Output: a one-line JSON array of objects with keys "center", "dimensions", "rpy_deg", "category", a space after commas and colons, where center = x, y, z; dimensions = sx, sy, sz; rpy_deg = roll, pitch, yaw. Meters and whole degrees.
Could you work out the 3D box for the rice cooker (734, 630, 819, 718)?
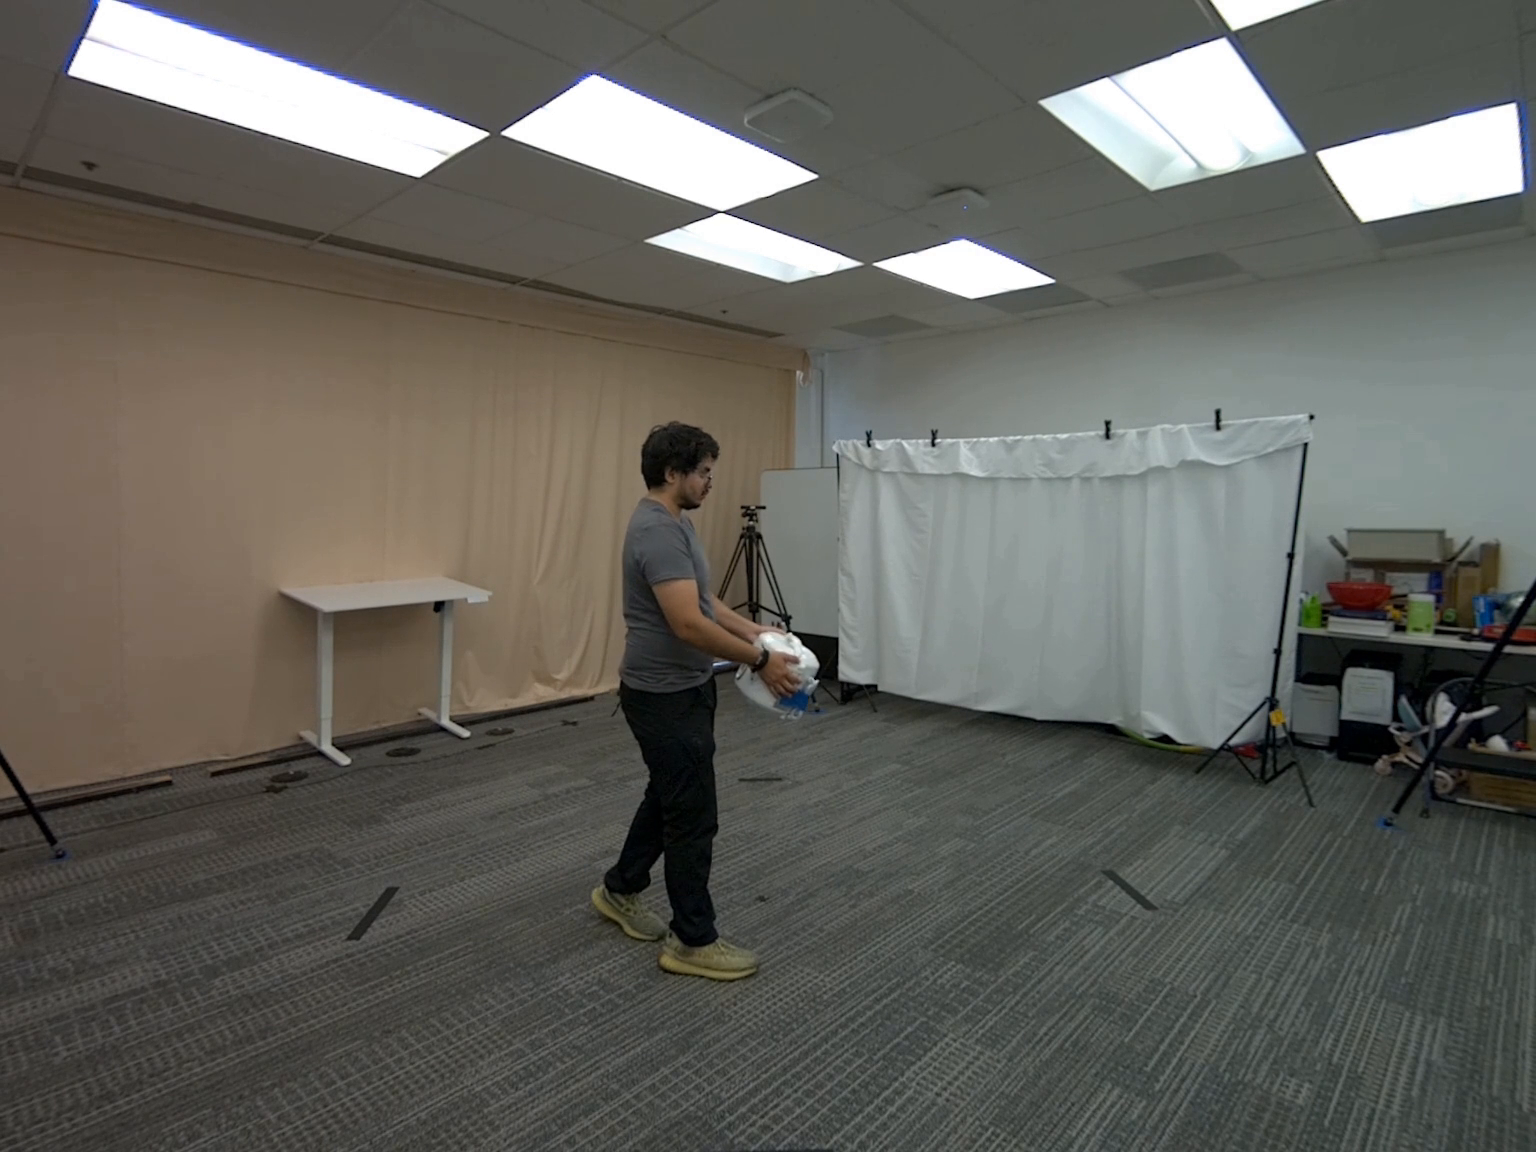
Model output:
[{"center": [0.033, 0.293, 2.583], "dimensions": [0.214, 0.232, 0.224], "rpy_deg": [26, 7, -13], "category": "rice cooker"}]
